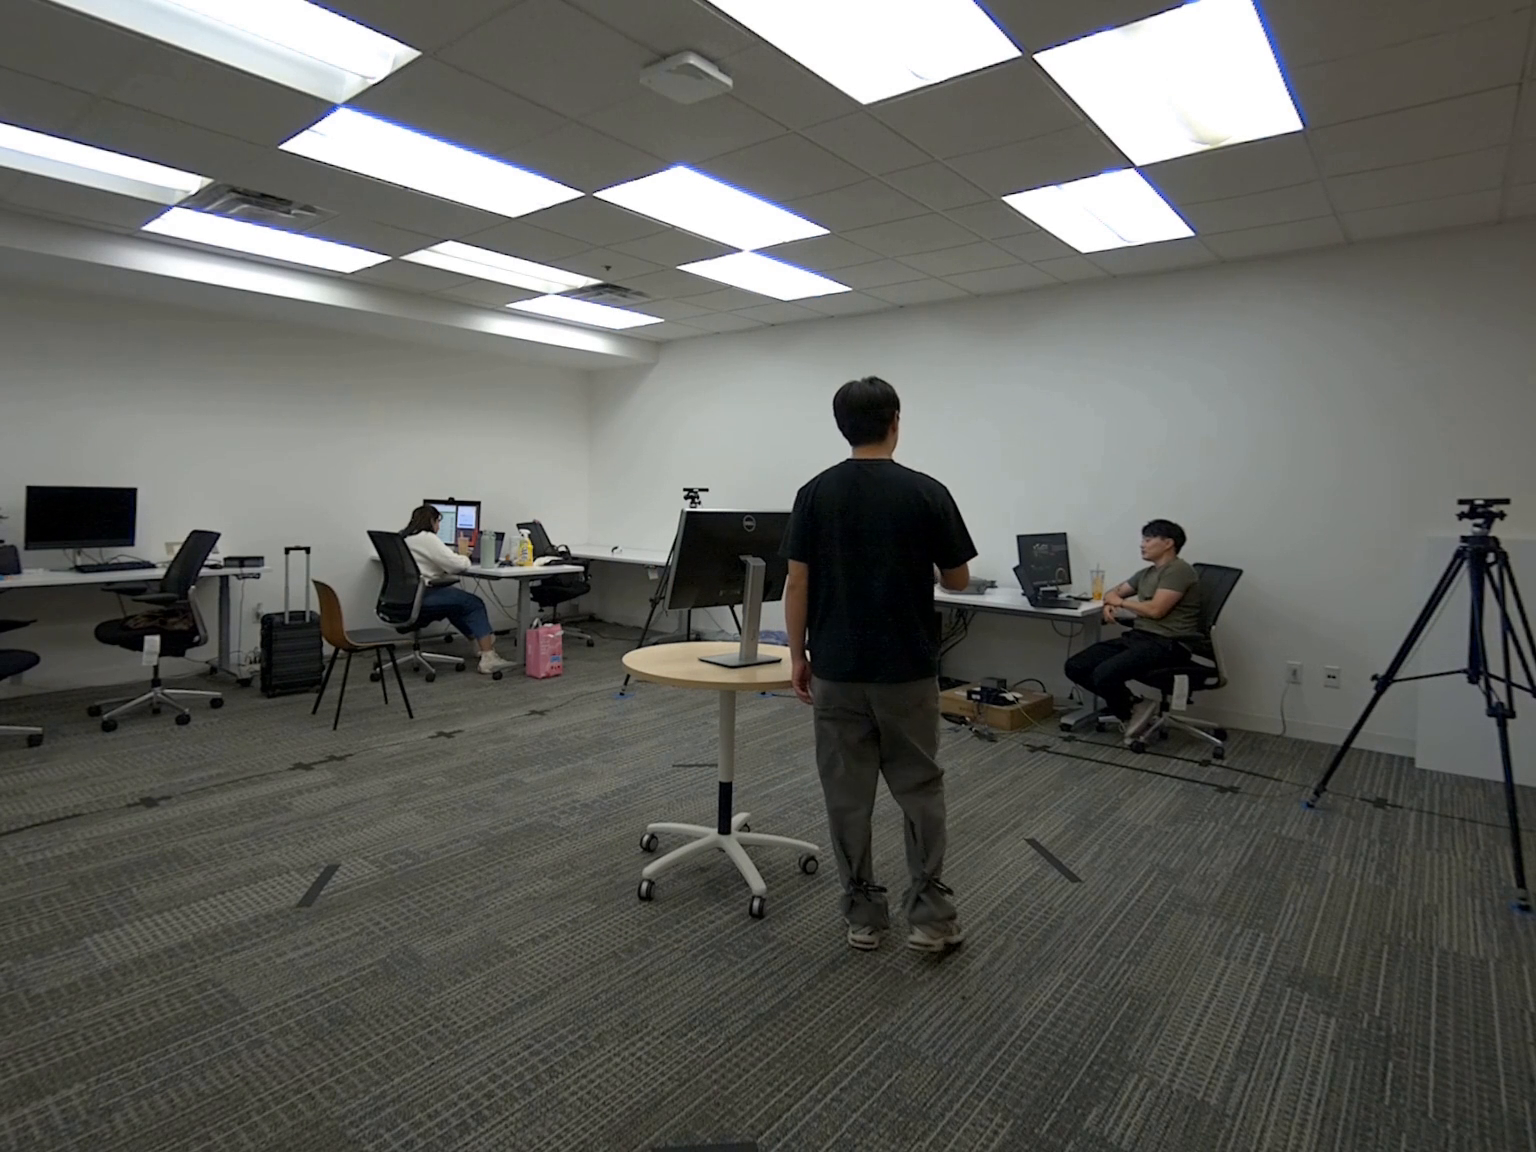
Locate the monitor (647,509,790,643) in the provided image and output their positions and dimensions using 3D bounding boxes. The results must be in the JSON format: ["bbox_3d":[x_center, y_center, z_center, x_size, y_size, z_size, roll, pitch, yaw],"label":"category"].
[{"bbox_3d":[-0.106,0.041,3.044,0.545,0.565,0.229,-1,2,-38],"label":"monitor"}]
